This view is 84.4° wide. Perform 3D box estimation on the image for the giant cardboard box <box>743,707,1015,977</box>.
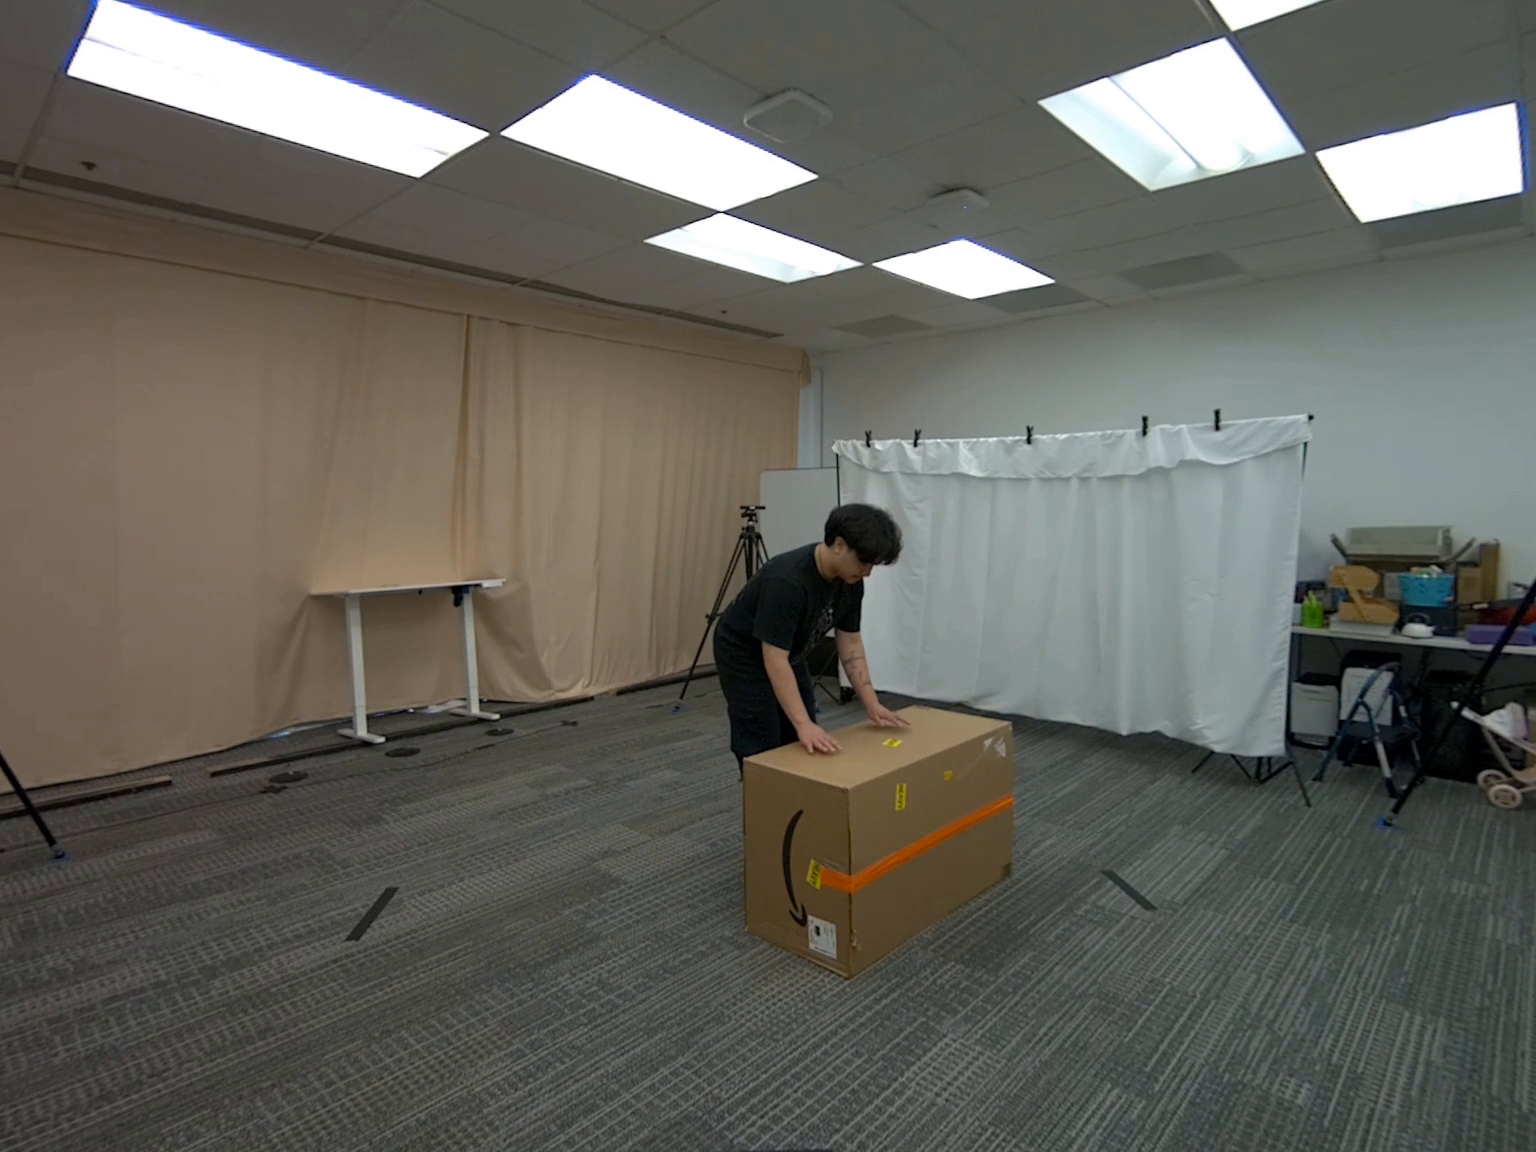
[{"bbox_3d":[0.429,0.860,2.952,0.462,0.582,0.996,4,7,43],"label":"giant cardboard box"}]
